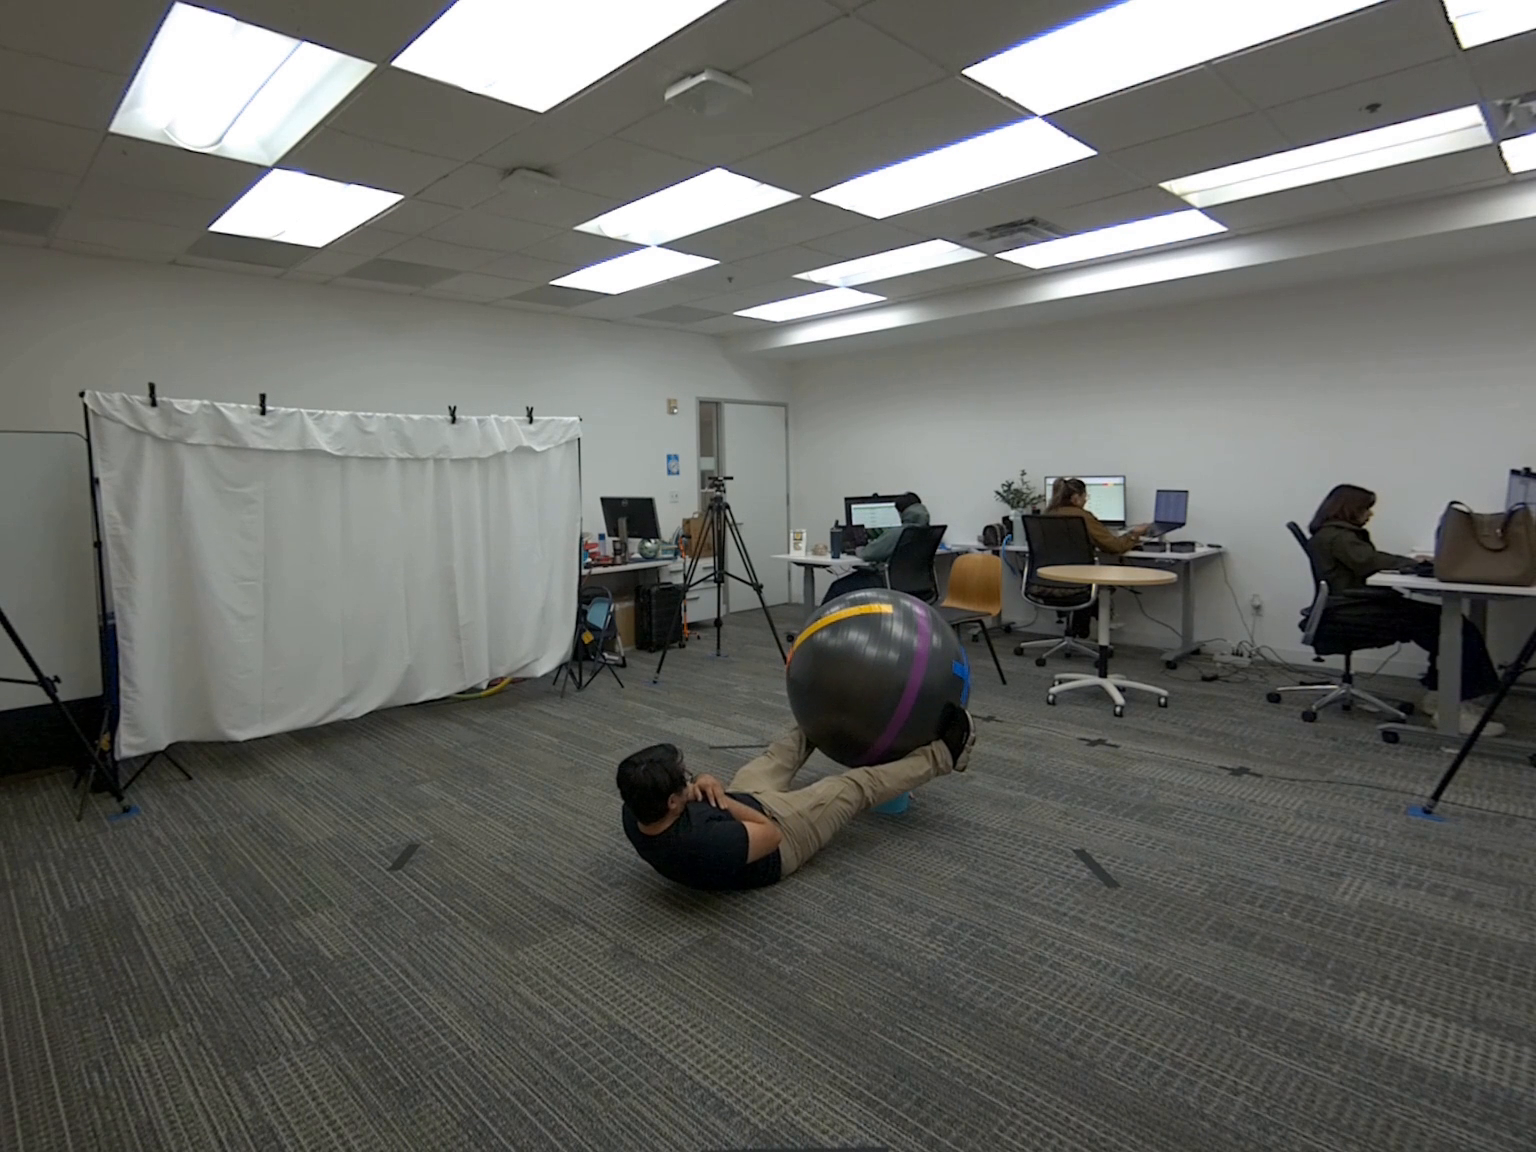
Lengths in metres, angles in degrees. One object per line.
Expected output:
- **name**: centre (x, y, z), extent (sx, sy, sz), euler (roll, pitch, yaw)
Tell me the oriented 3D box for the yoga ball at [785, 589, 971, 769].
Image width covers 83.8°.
- **yoga ball**: centre (0.459, 0.440, 3.582), extent (0.757, 0.755, 0.762), euler (-1, 5, -2)
